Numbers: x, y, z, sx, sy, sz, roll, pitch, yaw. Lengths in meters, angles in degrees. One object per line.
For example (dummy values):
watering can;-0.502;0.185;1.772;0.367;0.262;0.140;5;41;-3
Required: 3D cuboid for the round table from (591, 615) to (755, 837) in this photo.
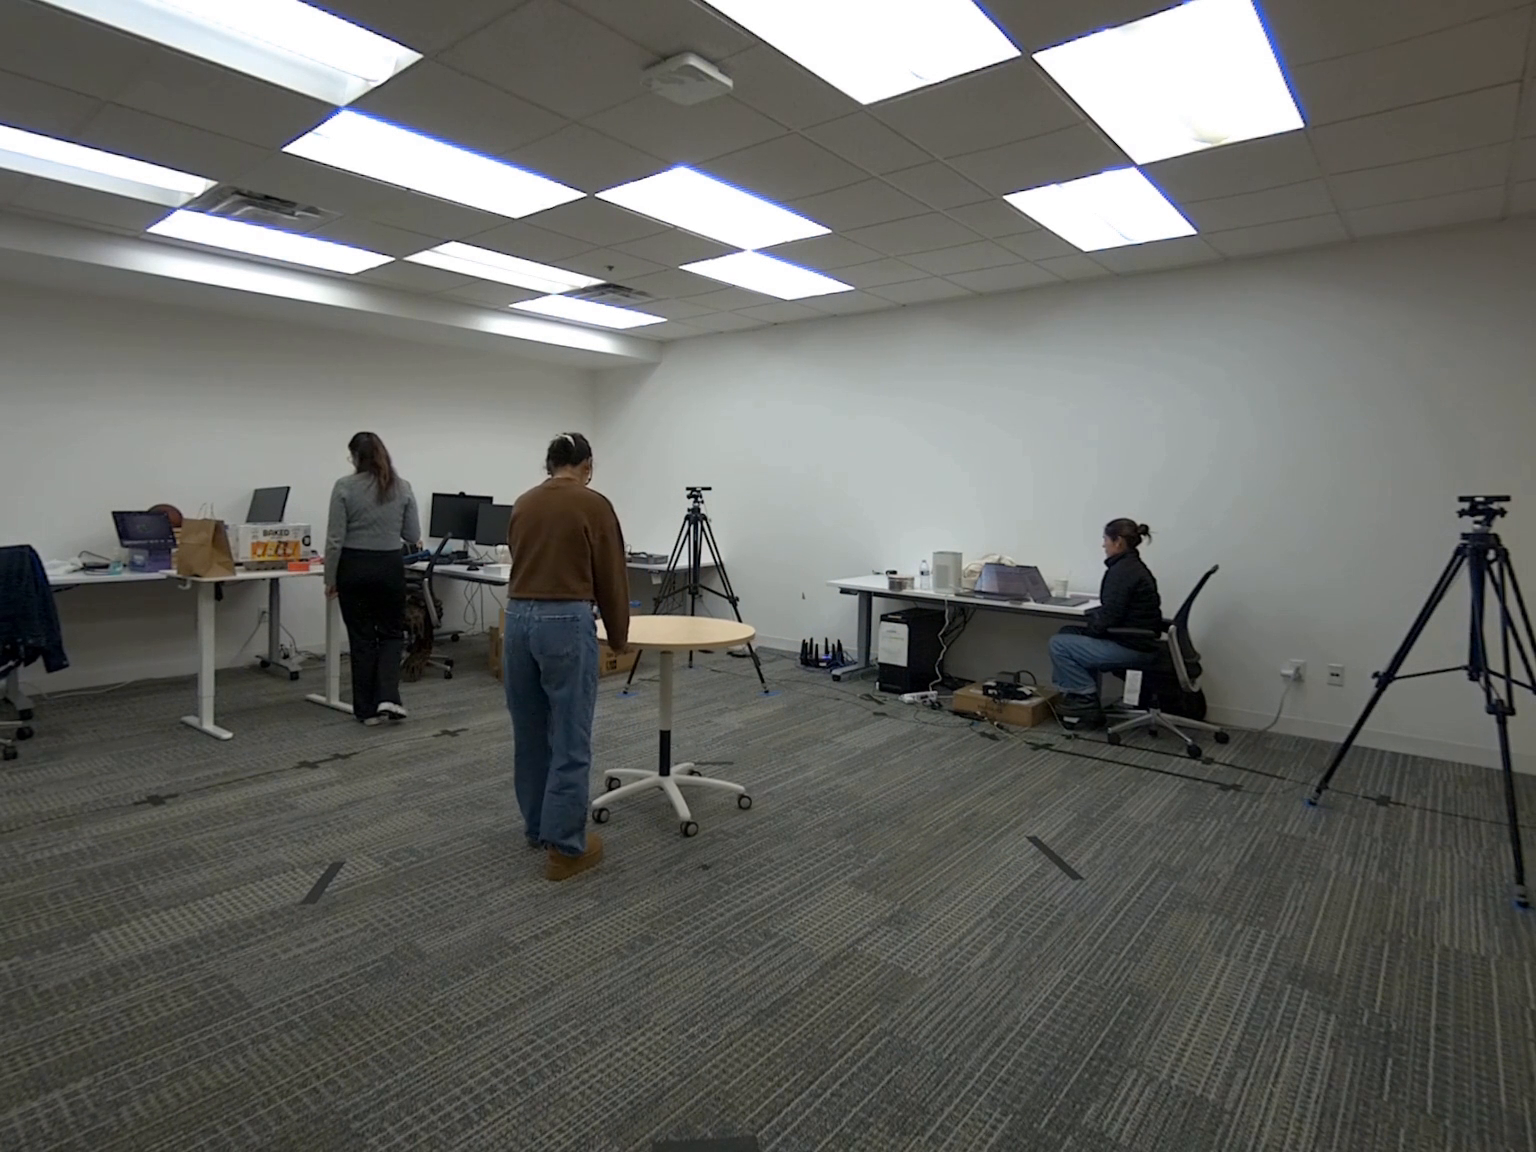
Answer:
round table;-0.454;0.618;3.689;0.763;0.792;0.767;1;3;-2
